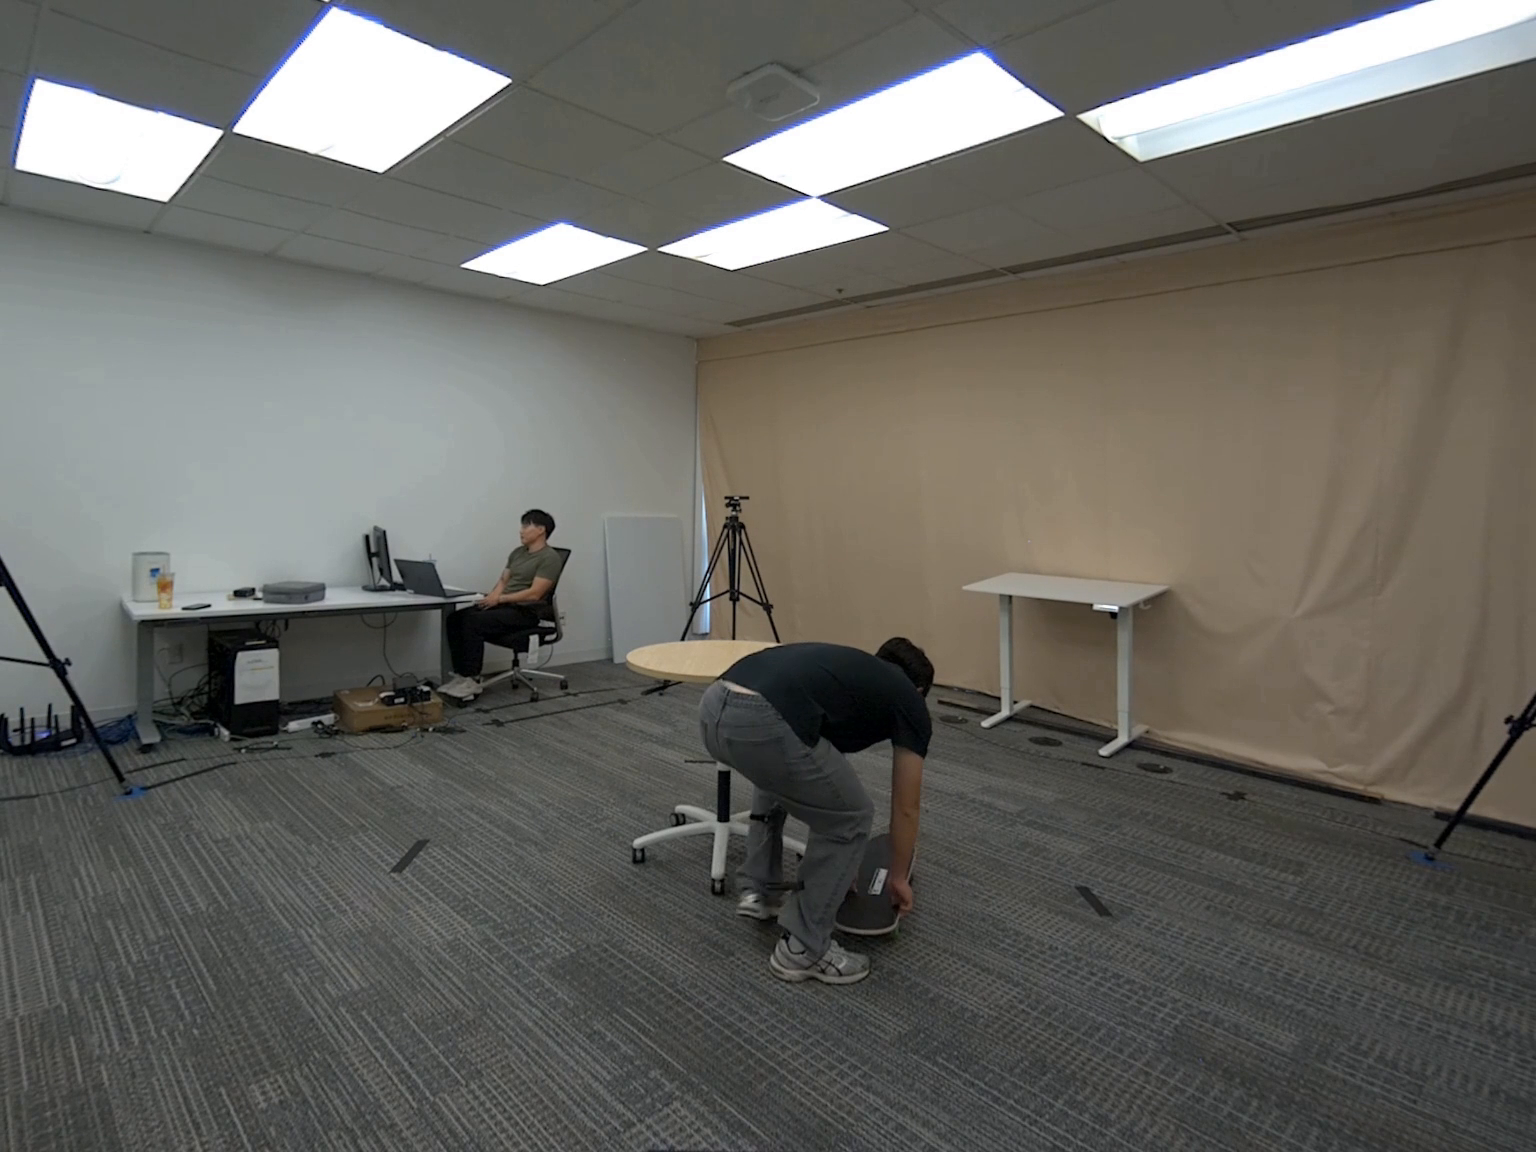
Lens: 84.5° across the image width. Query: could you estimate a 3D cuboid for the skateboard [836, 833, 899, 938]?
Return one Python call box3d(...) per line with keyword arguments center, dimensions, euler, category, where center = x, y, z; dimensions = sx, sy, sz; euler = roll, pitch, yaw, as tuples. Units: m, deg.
box3d(center=(0.374, 1.075, 2.880), dimensions=(0.196, 0.110, 0.777), euler=(-2, 4, 15), category="skateboard")
